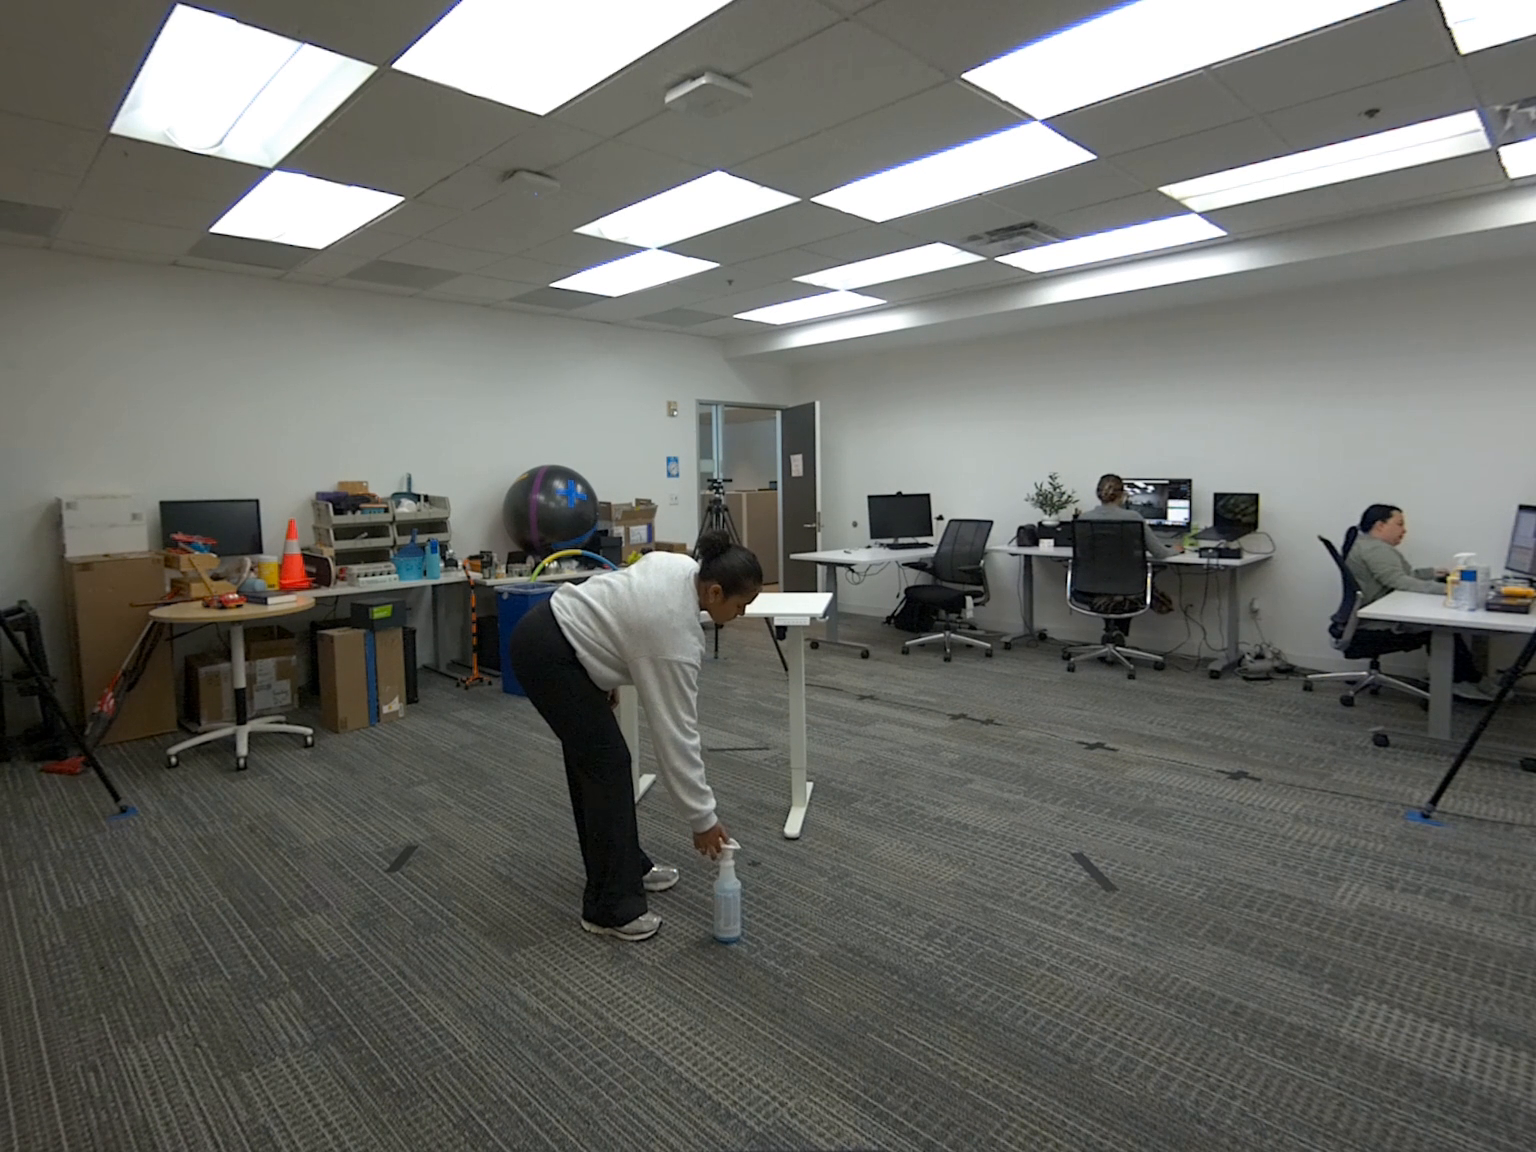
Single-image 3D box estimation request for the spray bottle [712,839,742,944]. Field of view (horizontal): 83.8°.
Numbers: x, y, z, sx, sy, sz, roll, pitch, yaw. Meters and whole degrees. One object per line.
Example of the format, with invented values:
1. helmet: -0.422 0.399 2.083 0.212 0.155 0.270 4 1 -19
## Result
1. spray bottle: -0.129 0.935 2.614 0.091 0.298 0.086 -2 -1 15
